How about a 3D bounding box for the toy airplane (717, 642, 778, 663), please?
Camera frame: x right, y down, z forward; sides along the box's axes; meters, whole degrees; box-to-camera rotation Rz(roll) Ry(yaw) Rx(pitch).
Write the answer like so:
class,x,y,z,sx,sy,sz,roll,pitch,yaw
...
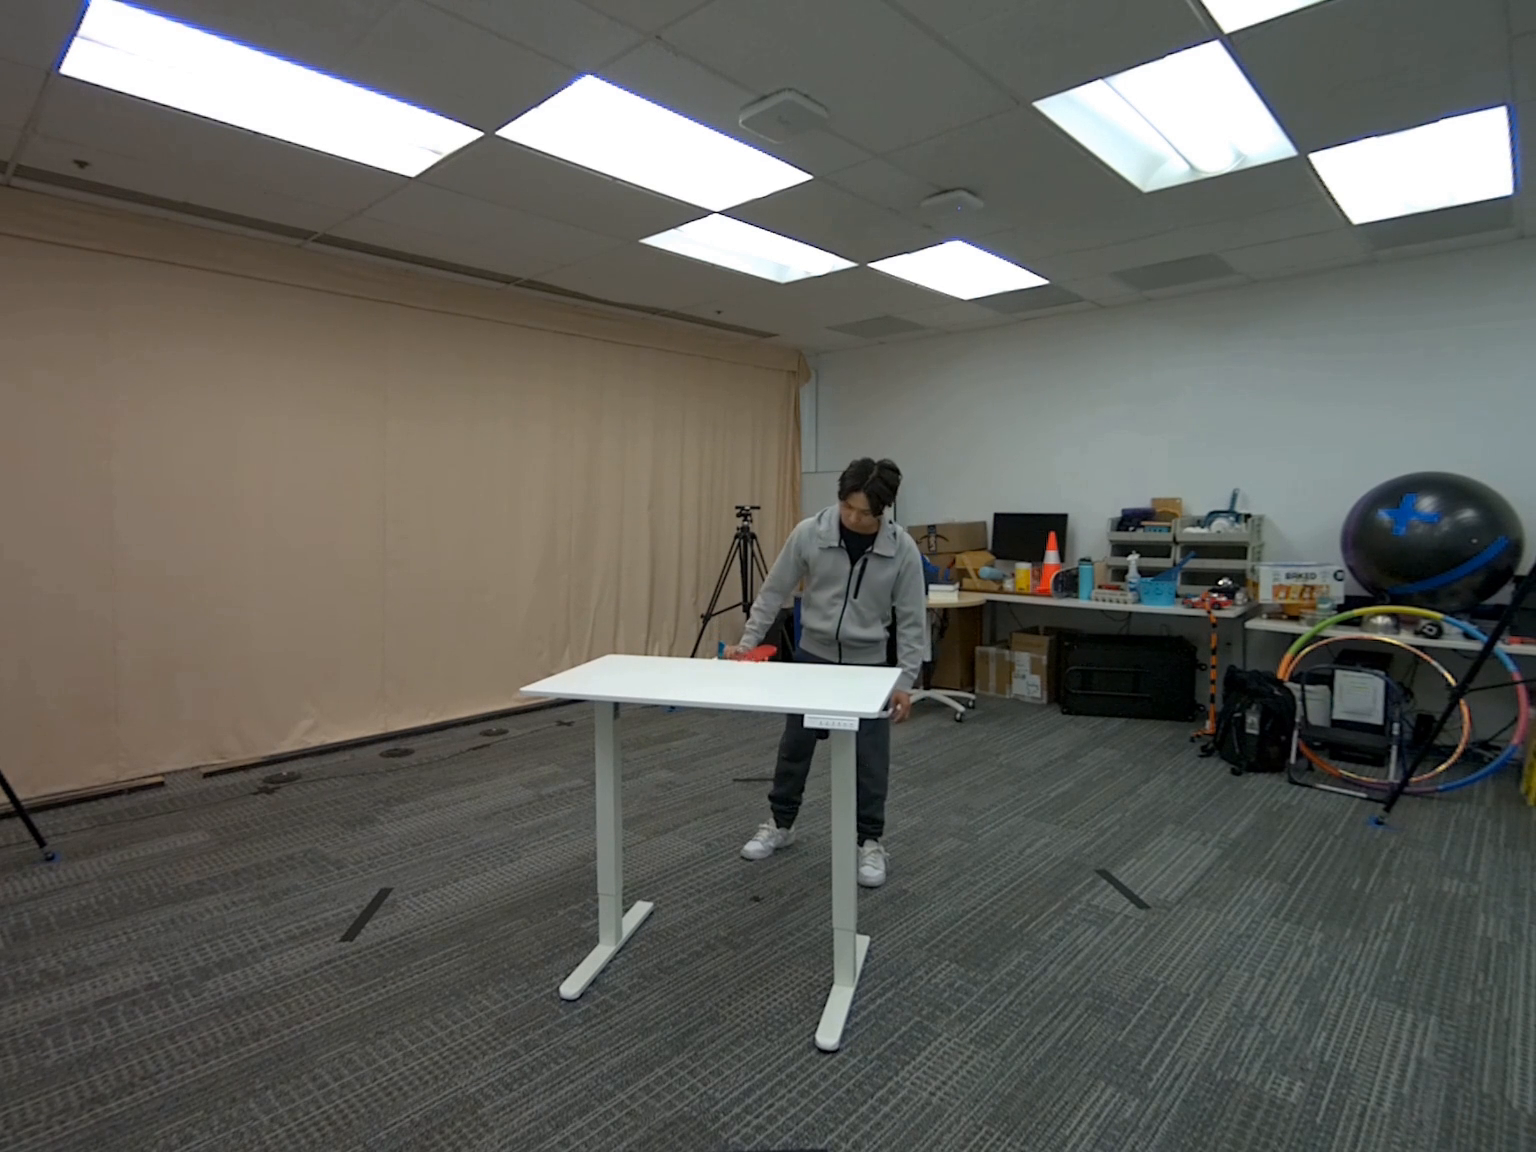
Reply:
class,x,y,z,sx,sy,sz,roll,pitch,yaw
toy airplane,-0.101,0.350,3.119,0.263,0.154,0.251,13,27,10
